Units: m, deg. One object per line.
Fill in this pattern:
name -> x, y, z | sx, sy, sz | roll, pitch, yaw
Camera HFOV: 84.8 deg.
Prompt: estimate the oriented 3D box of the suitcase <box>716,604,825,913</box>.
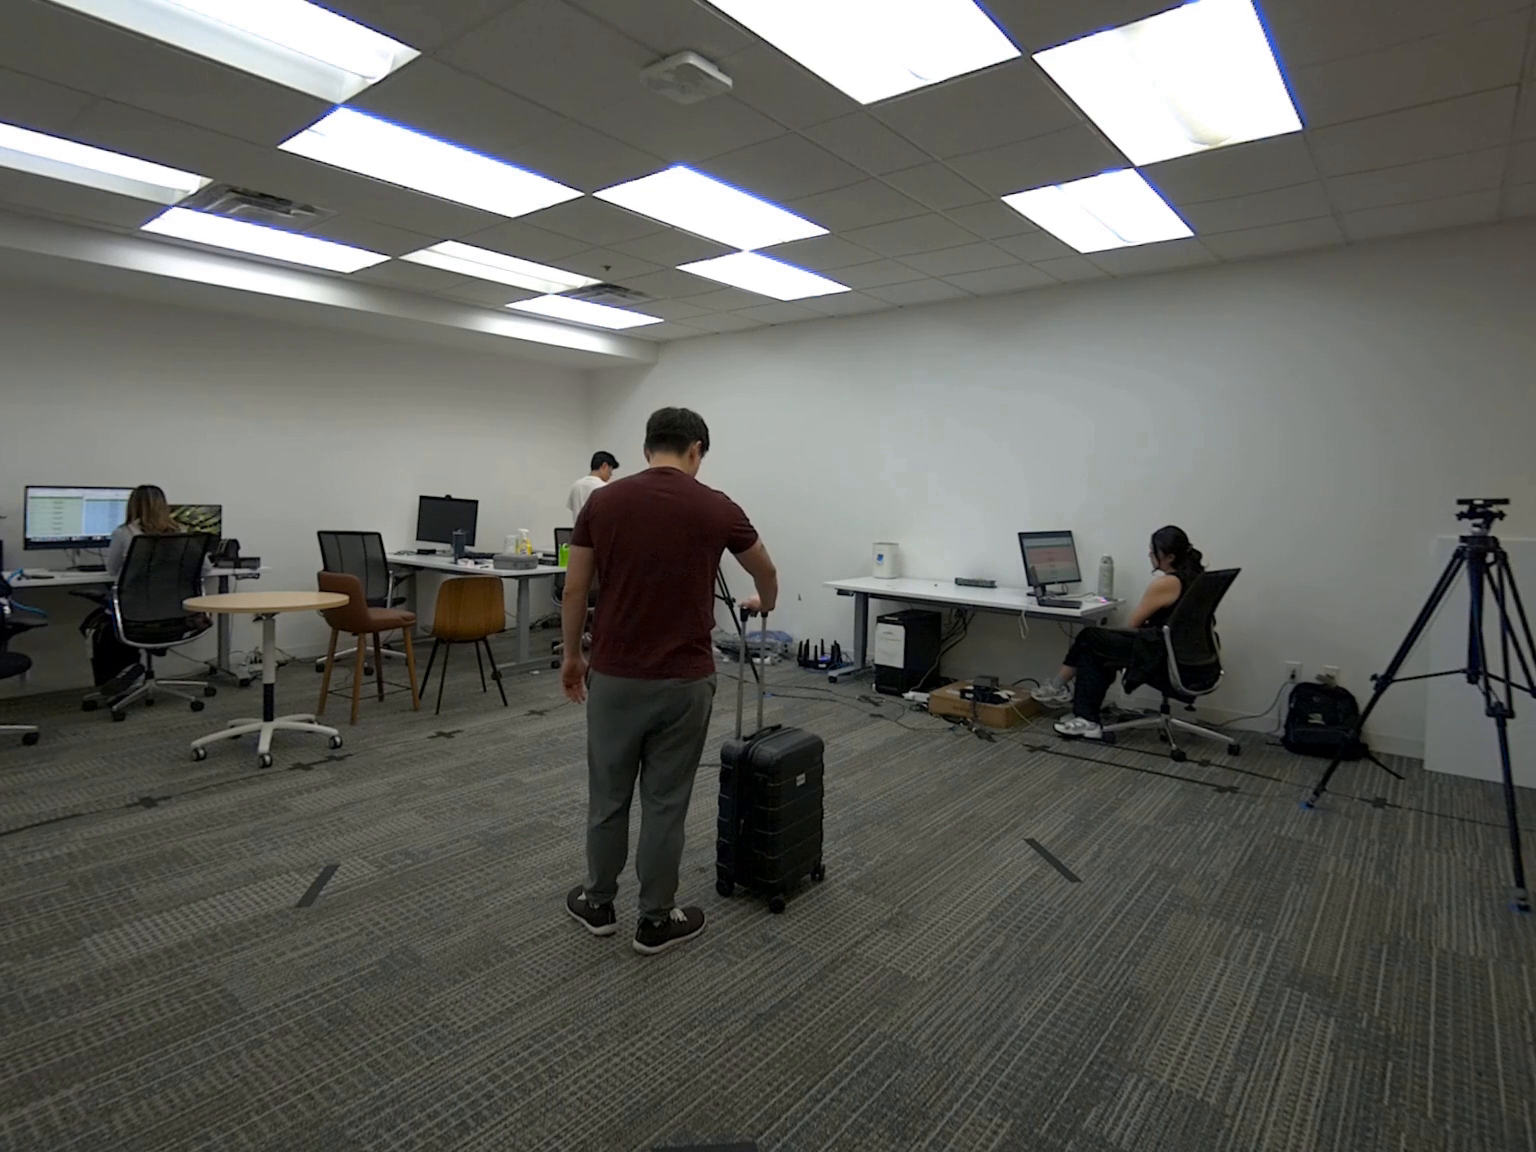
suitcase -> 0.018, 0.611, 2.965 | 0.265, 0.975, 0.373 | 5, 5, 35
